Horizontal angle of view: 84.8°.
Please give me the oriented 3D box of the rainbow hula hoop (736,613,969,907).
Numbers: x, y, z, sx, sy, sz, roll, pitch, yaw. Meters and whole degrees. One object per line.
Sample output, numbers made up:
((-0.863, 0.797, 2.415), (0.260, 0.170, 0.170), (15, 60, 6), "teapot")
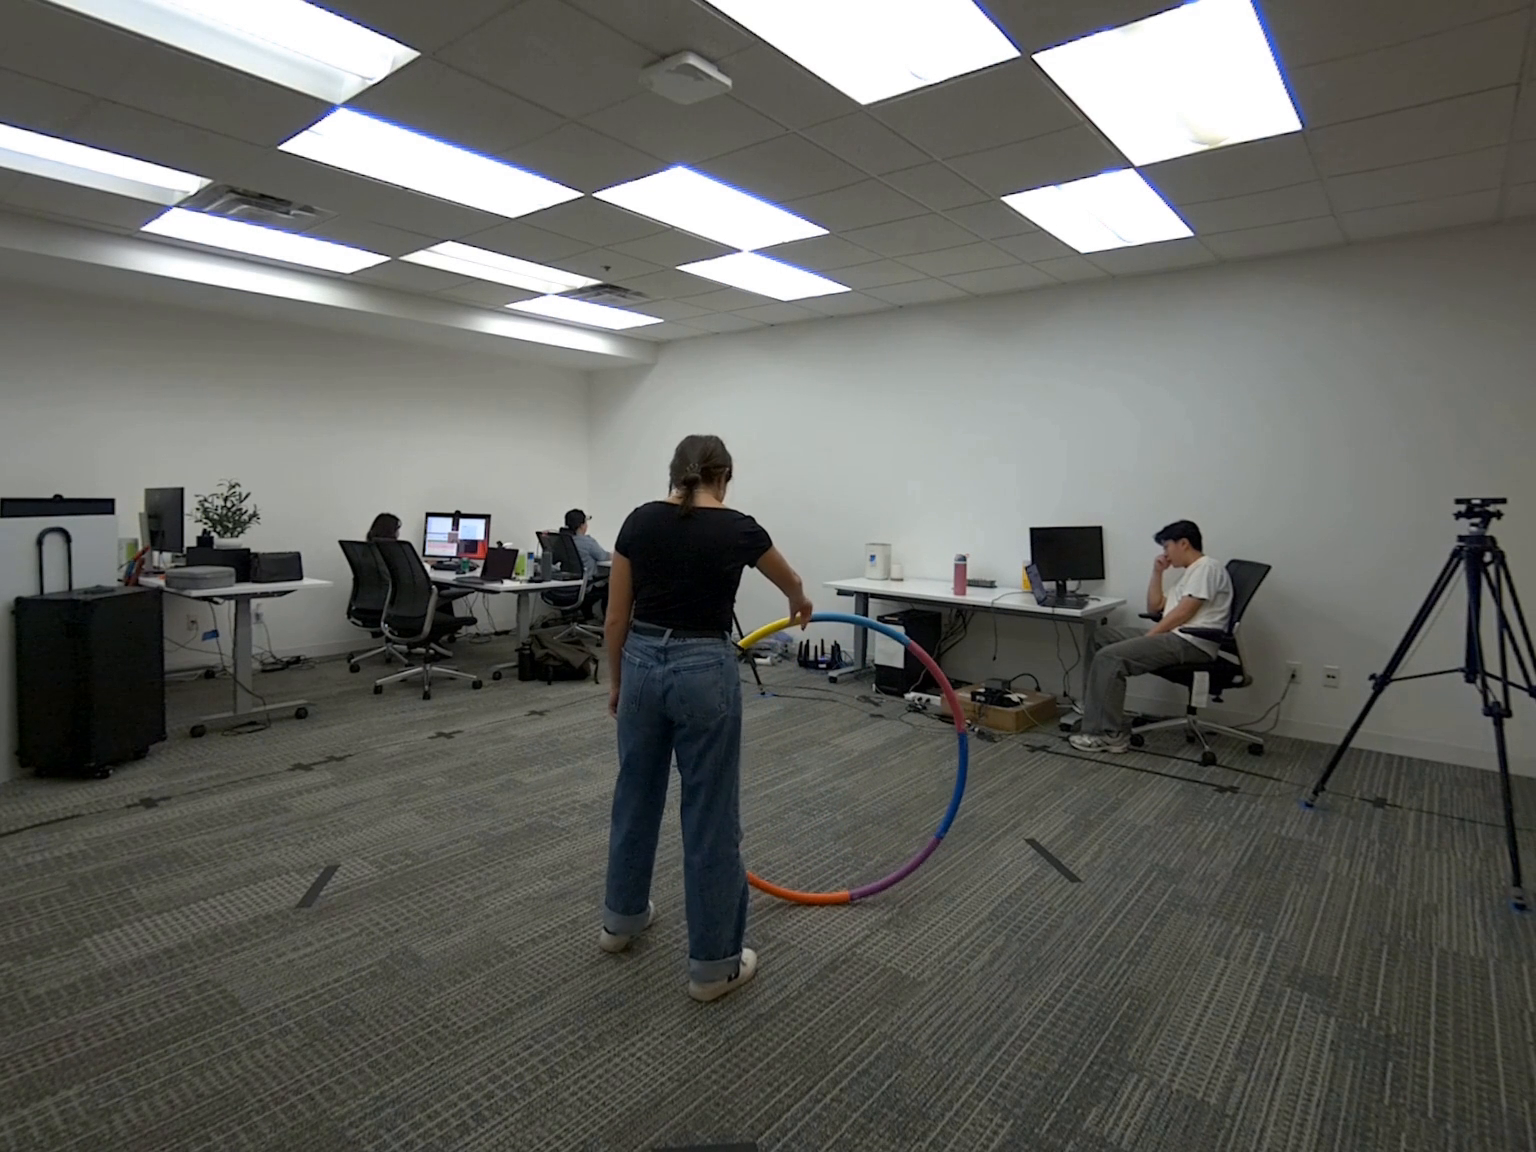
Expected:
((0.203, 0.613, 2.896), (0.973, 0.981, 0.035), (0, -3, -5), "rainbow hula hoop")
